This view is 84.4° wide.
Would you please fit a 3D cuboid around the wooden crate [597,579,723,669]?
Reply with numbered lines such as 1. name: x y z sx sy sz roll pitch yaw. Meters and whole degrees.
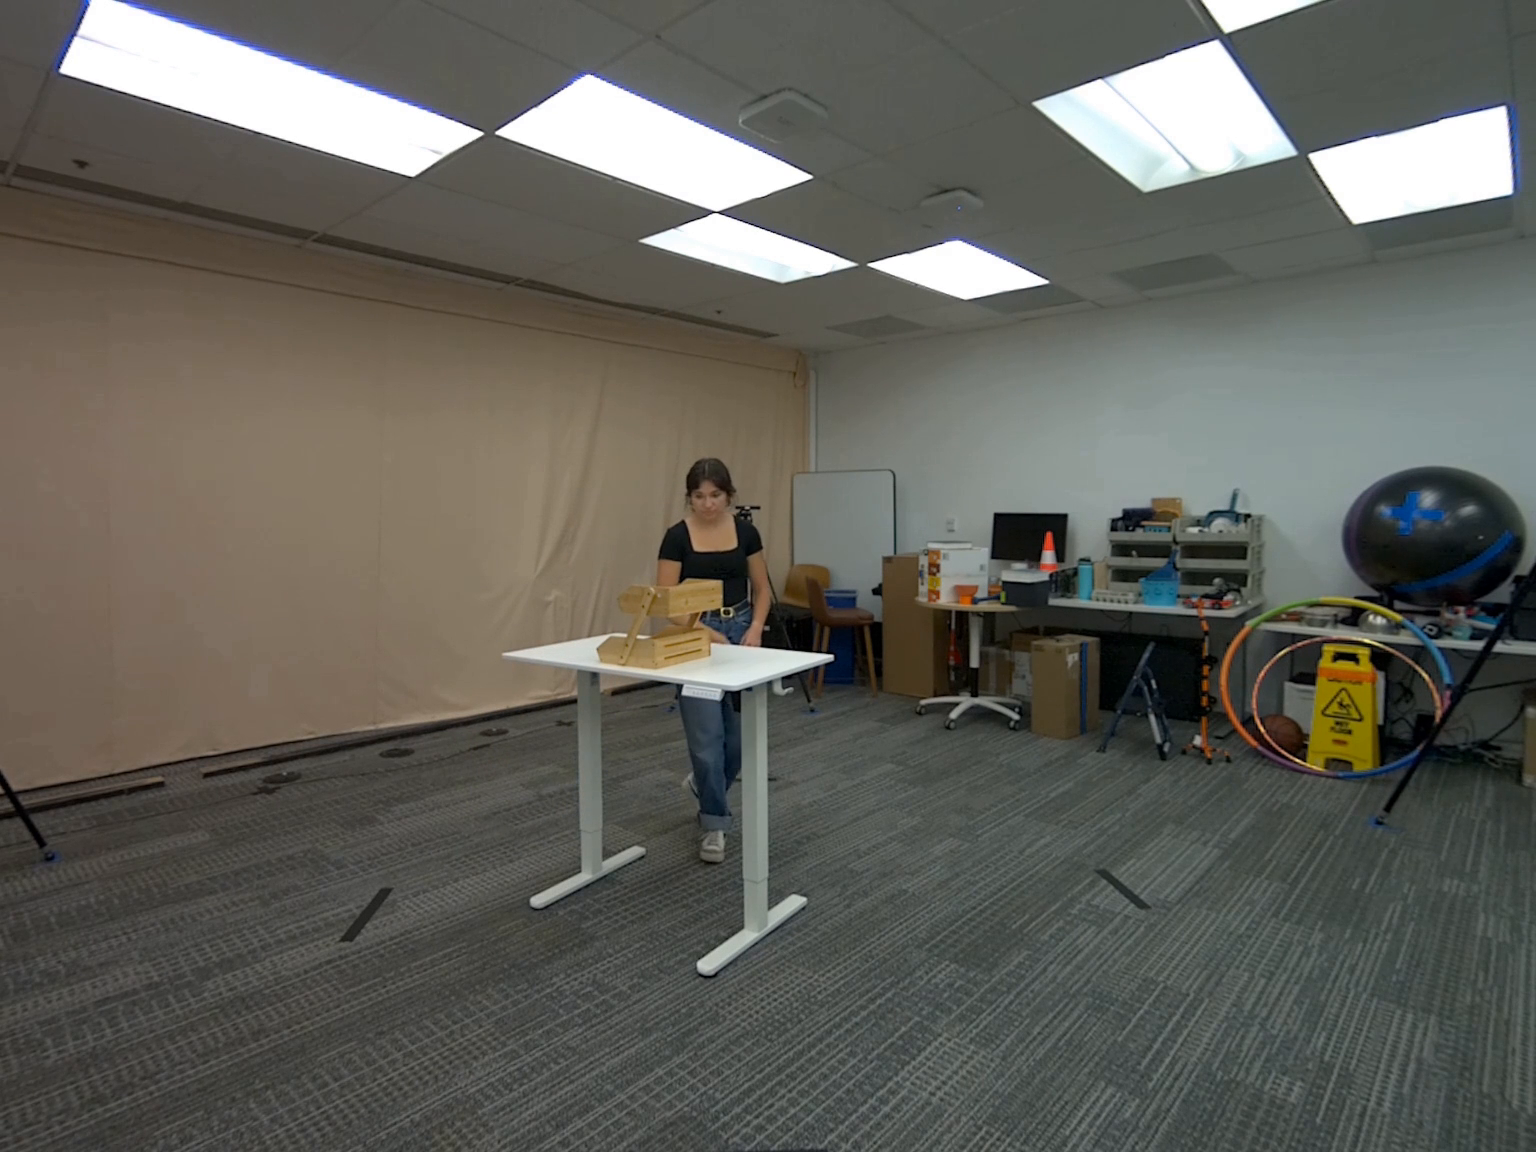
1. wooden crate: -0.363 0.146 2.802 0.311 0.273 0.315 2 4 32
